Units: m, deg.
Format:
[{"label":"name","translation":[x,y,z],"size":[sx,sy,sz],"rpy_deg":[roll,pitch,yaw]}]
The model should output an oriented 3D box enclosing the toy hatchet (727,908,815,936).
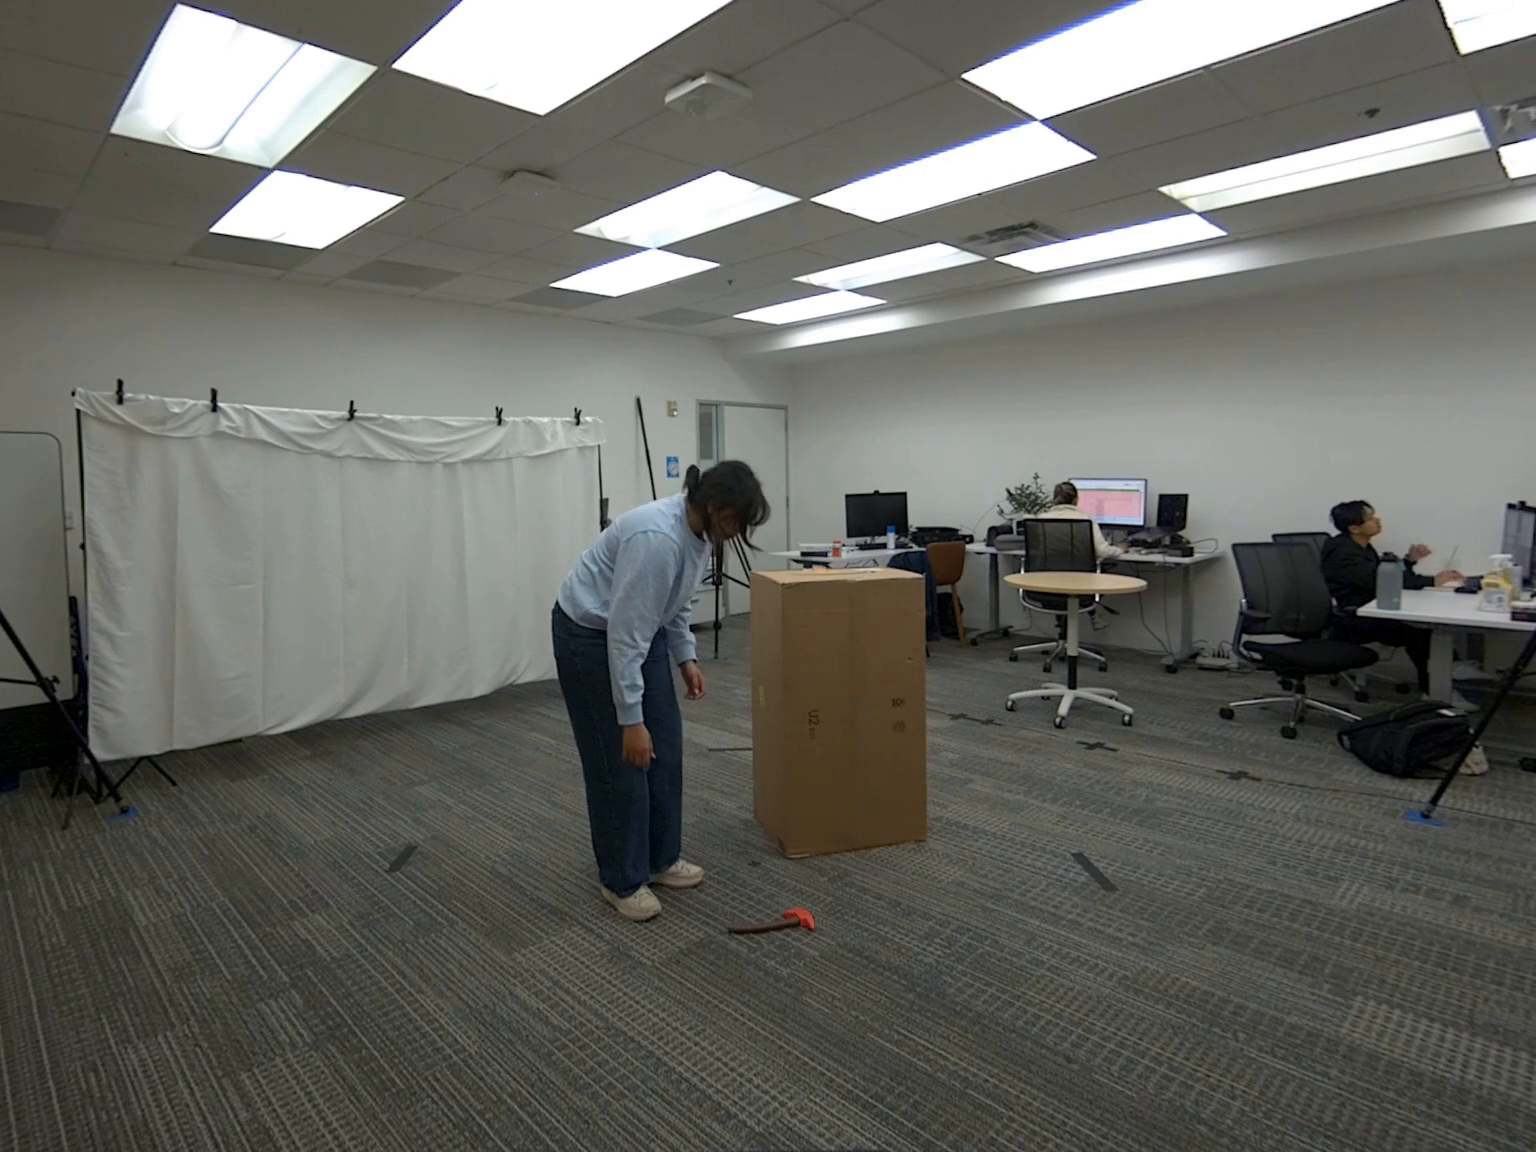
[{"label":"toy hatchet","translation":[0.004,1.081,2.684],"size":[0.270,0.029,0.131],"rpy_deg":[-2,6,0]}]
